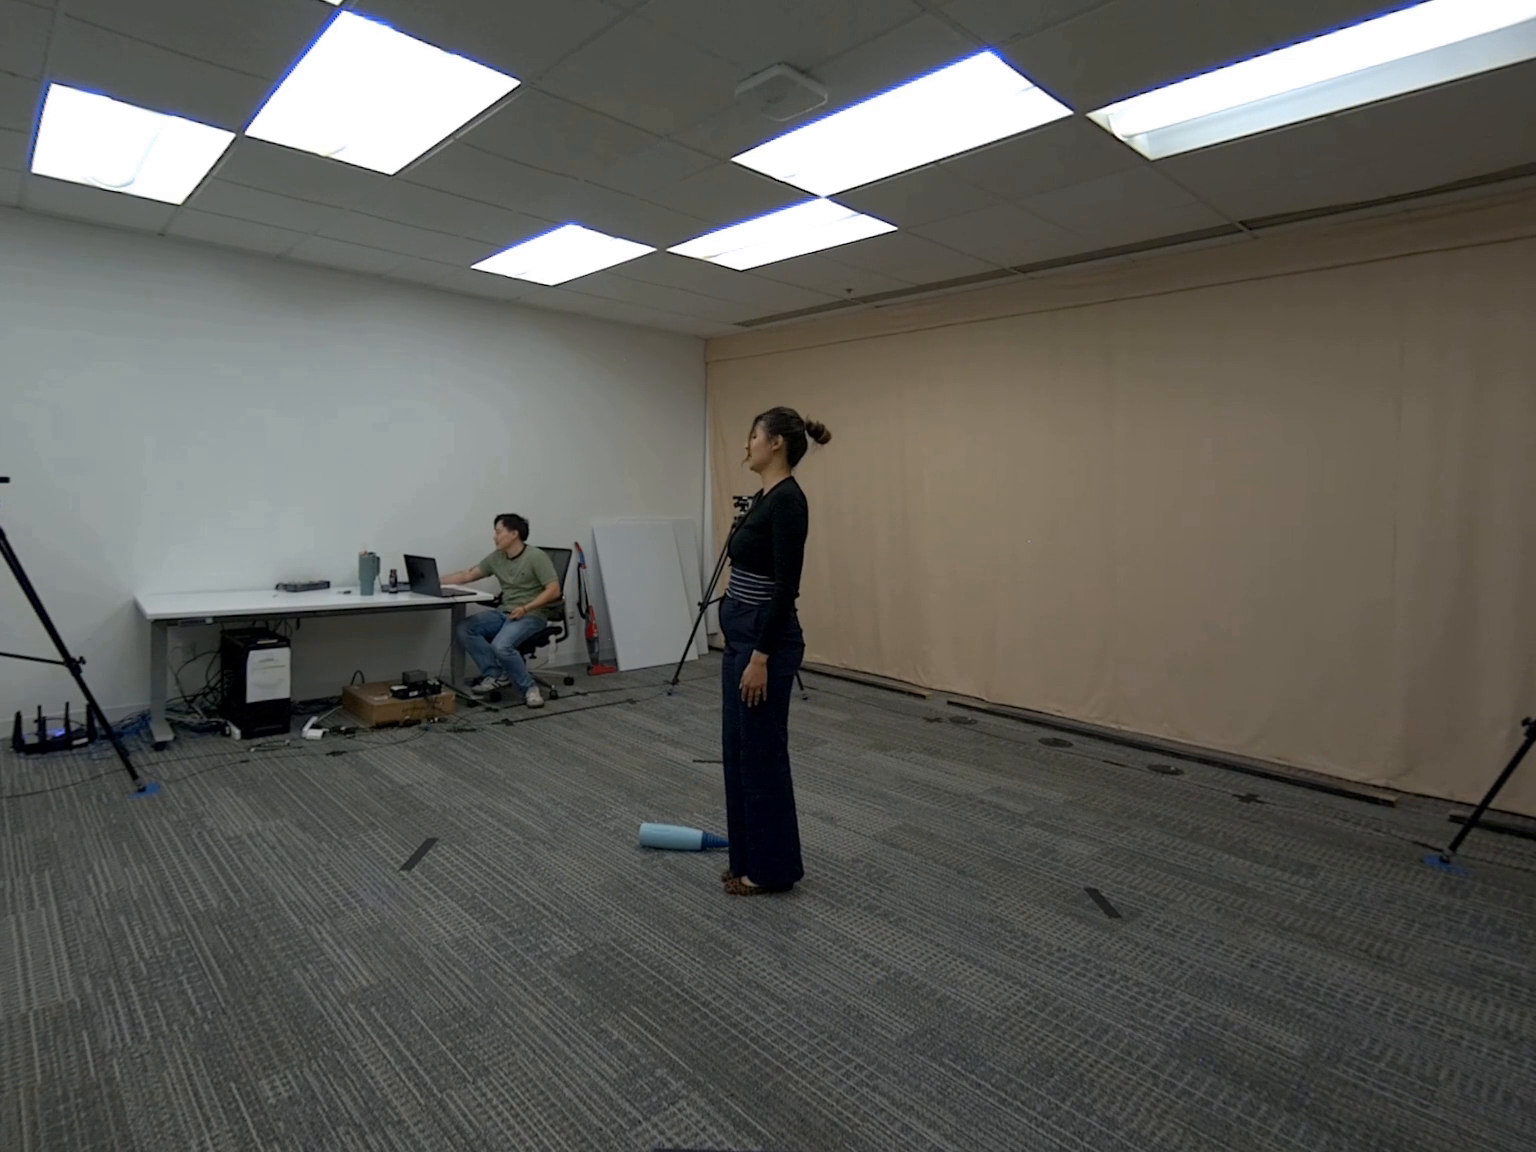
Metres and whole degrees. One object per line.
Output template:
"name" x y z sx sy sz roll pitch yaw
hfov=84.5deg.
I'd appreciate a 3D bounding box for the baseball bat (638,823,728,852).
"baseball bat" -0.248 1.049 3.317 0.544 0.089 0.089 5 4 2
